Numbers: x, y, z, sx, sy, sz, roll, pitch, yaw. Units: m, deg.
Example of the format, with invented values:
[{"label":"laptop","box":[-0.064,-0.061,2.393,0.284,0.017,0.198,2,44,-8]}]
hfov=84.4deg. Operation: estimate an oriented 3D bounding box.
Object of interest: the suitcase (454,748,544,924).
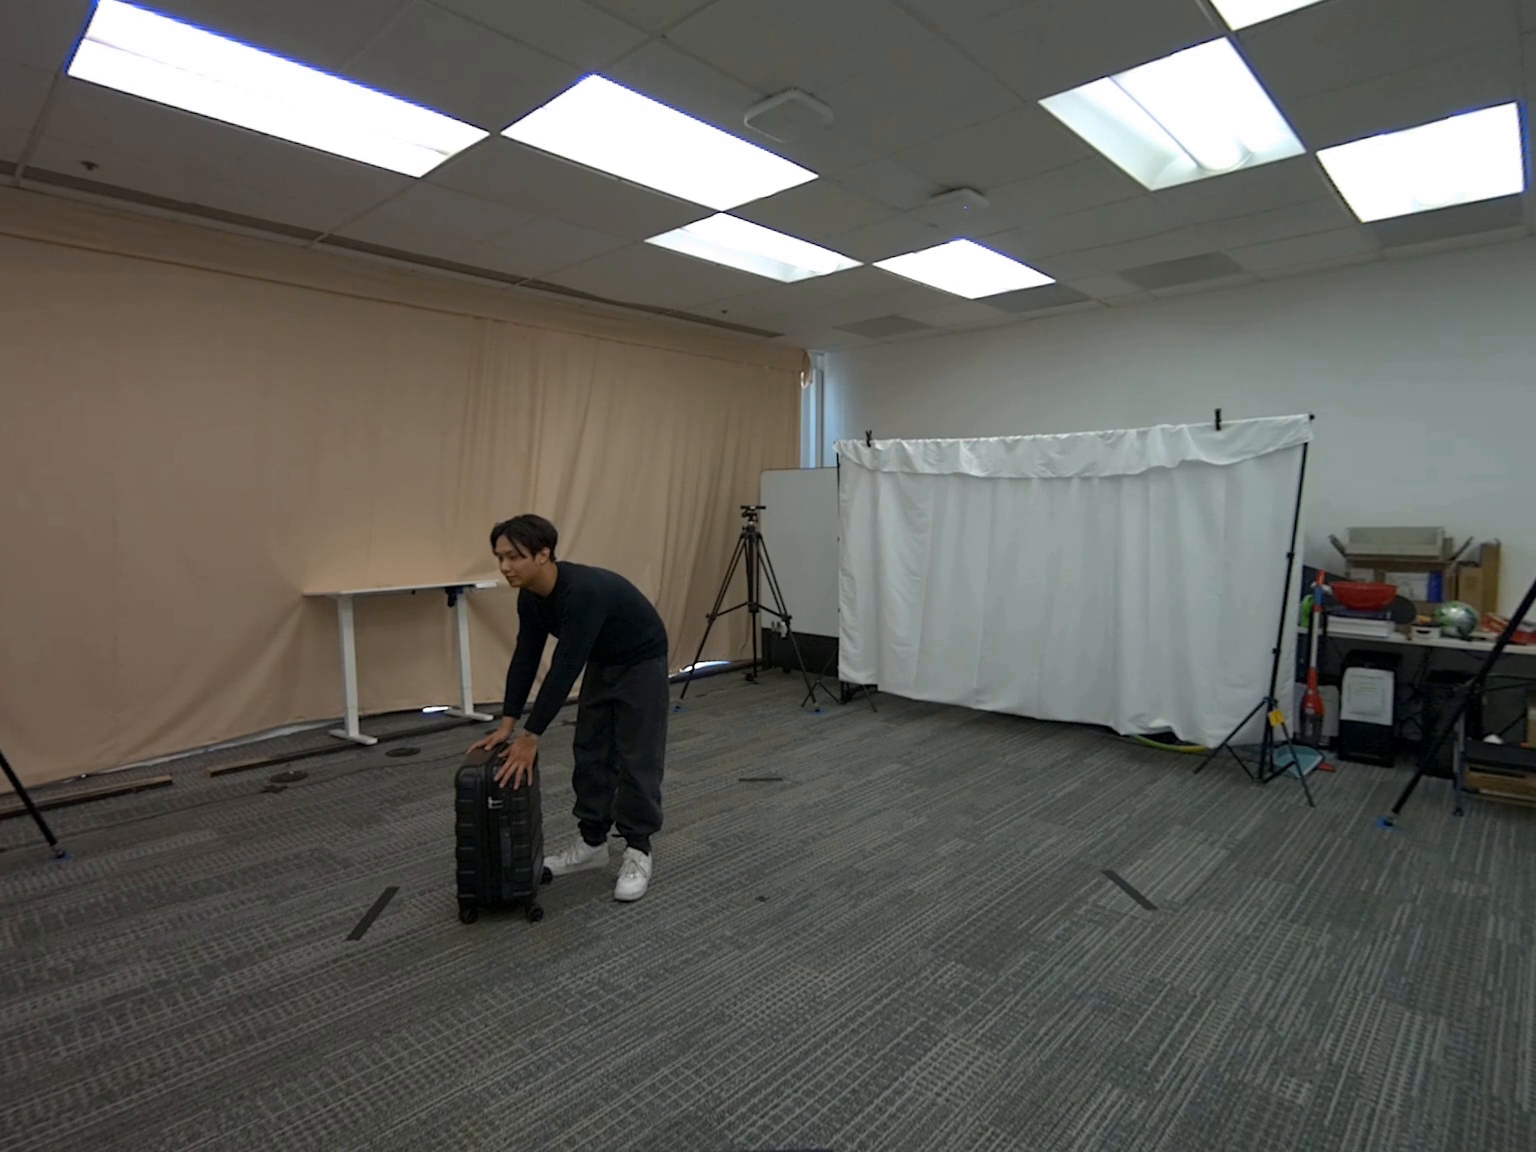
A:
[{"label":"suitcase","box":[-0.945,0.878,2.953,0.247,0.548,0.378,-1,3,-6]}]
